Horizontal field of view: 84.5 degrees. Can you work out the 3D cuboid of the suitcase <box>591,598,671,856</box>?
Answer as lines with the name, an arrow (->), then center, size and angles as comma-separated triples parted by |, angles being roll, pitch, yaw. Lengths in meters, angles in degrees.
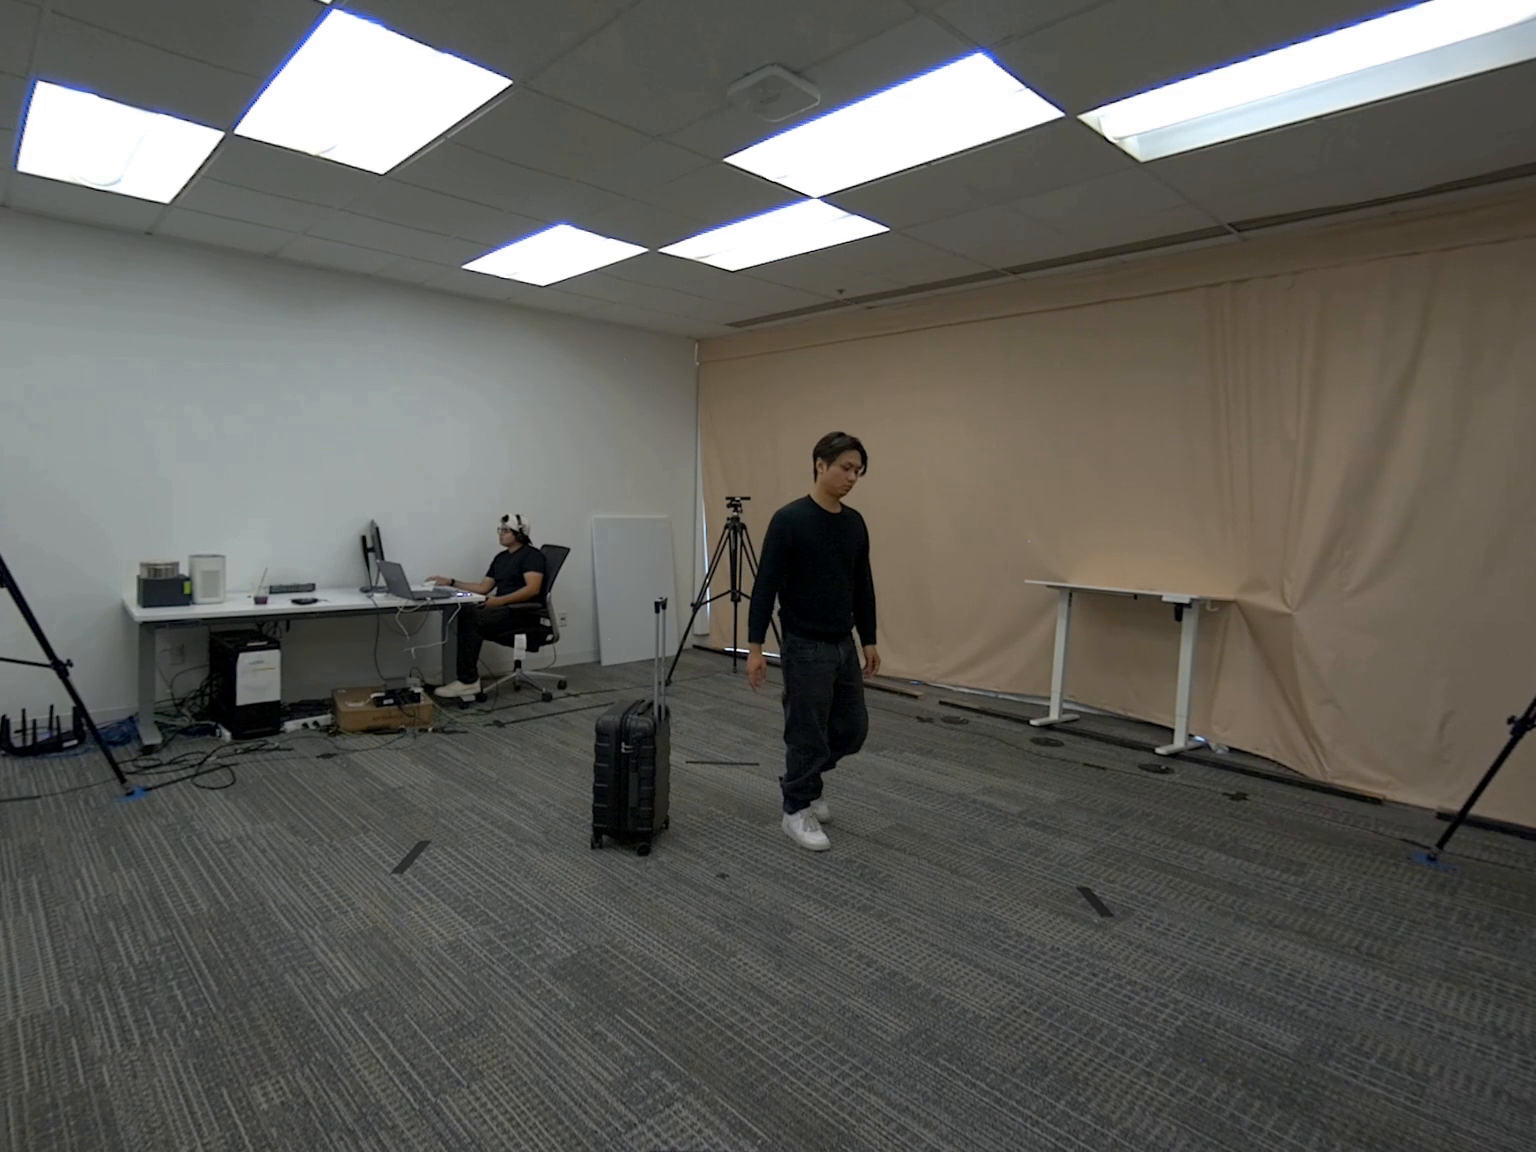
suitcase -> -0.557, 0.590, 3.416 | 0.259, 0.977, 0.382 | 0, 2, 7
